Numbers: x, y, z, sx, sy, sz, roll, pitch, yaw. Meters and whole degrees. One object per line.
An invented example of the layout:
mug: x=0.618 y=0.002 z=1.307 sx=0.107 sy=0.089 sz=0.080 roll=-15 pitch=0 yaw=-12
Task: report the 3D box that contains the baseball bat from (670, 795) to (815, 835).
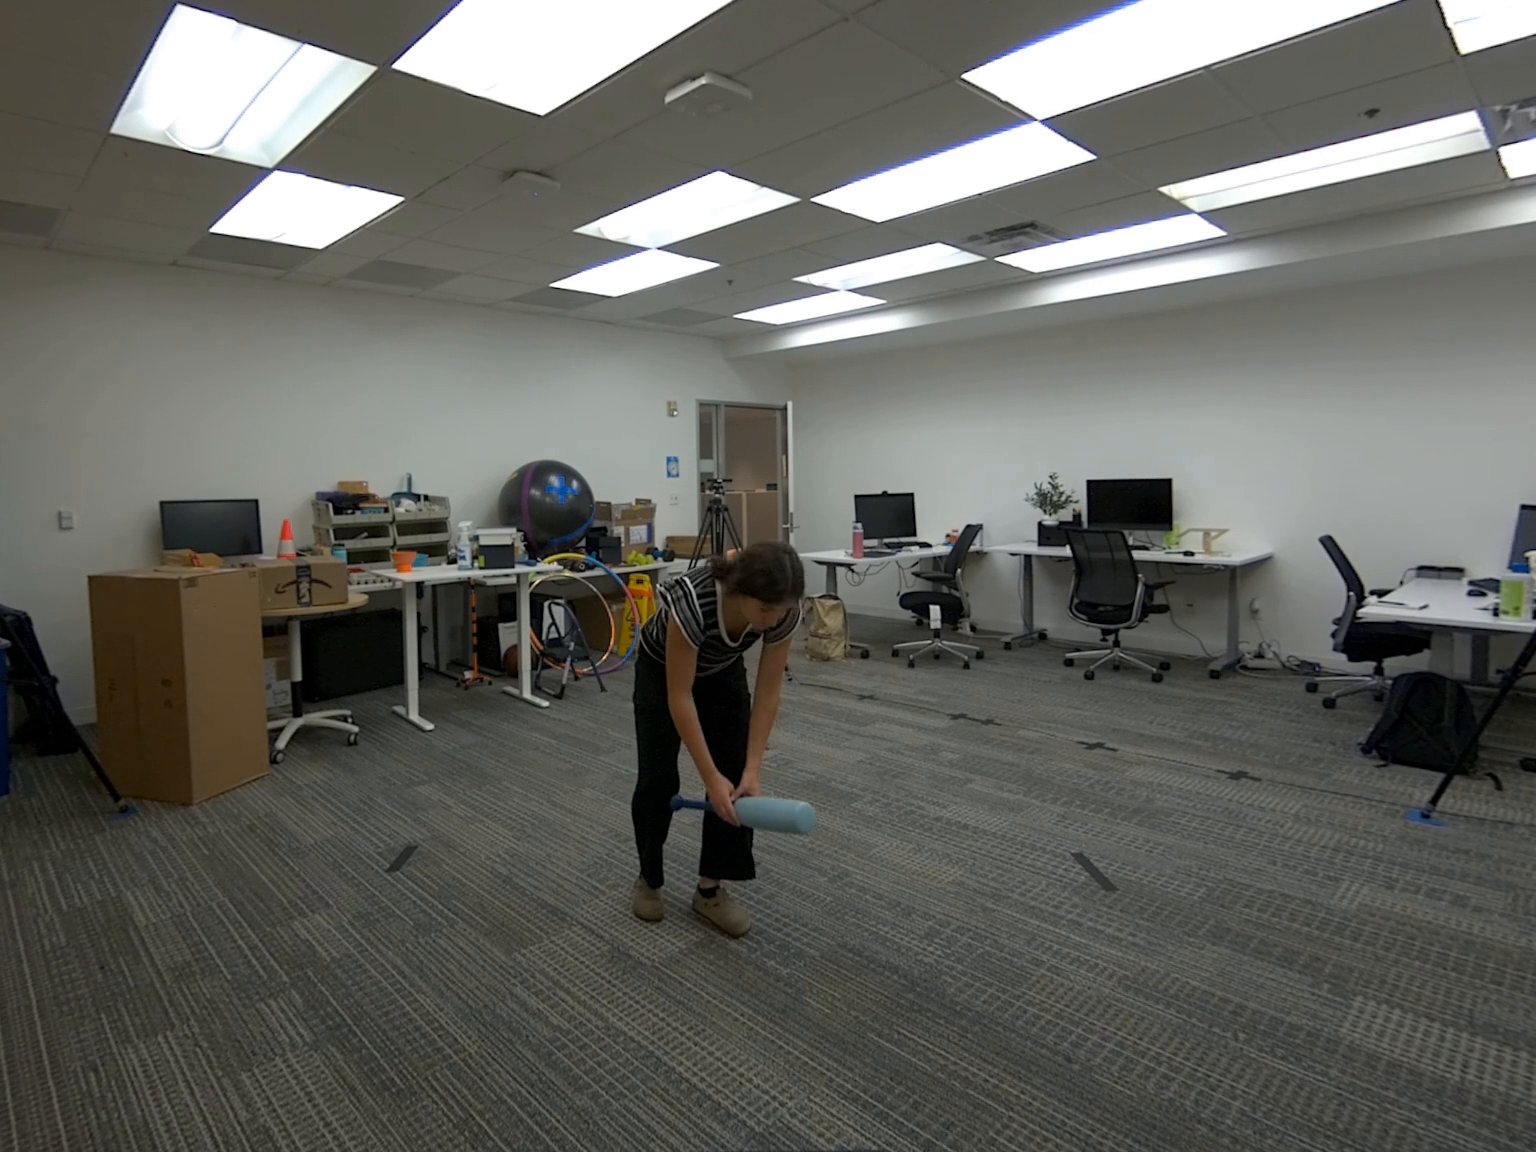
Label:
baseball bat: x=-0.085 y=0.681 z=2.445 sx=0.087 sy=0.089 sz=0.555 roll=-6 pitch=-4 yaw=-45
